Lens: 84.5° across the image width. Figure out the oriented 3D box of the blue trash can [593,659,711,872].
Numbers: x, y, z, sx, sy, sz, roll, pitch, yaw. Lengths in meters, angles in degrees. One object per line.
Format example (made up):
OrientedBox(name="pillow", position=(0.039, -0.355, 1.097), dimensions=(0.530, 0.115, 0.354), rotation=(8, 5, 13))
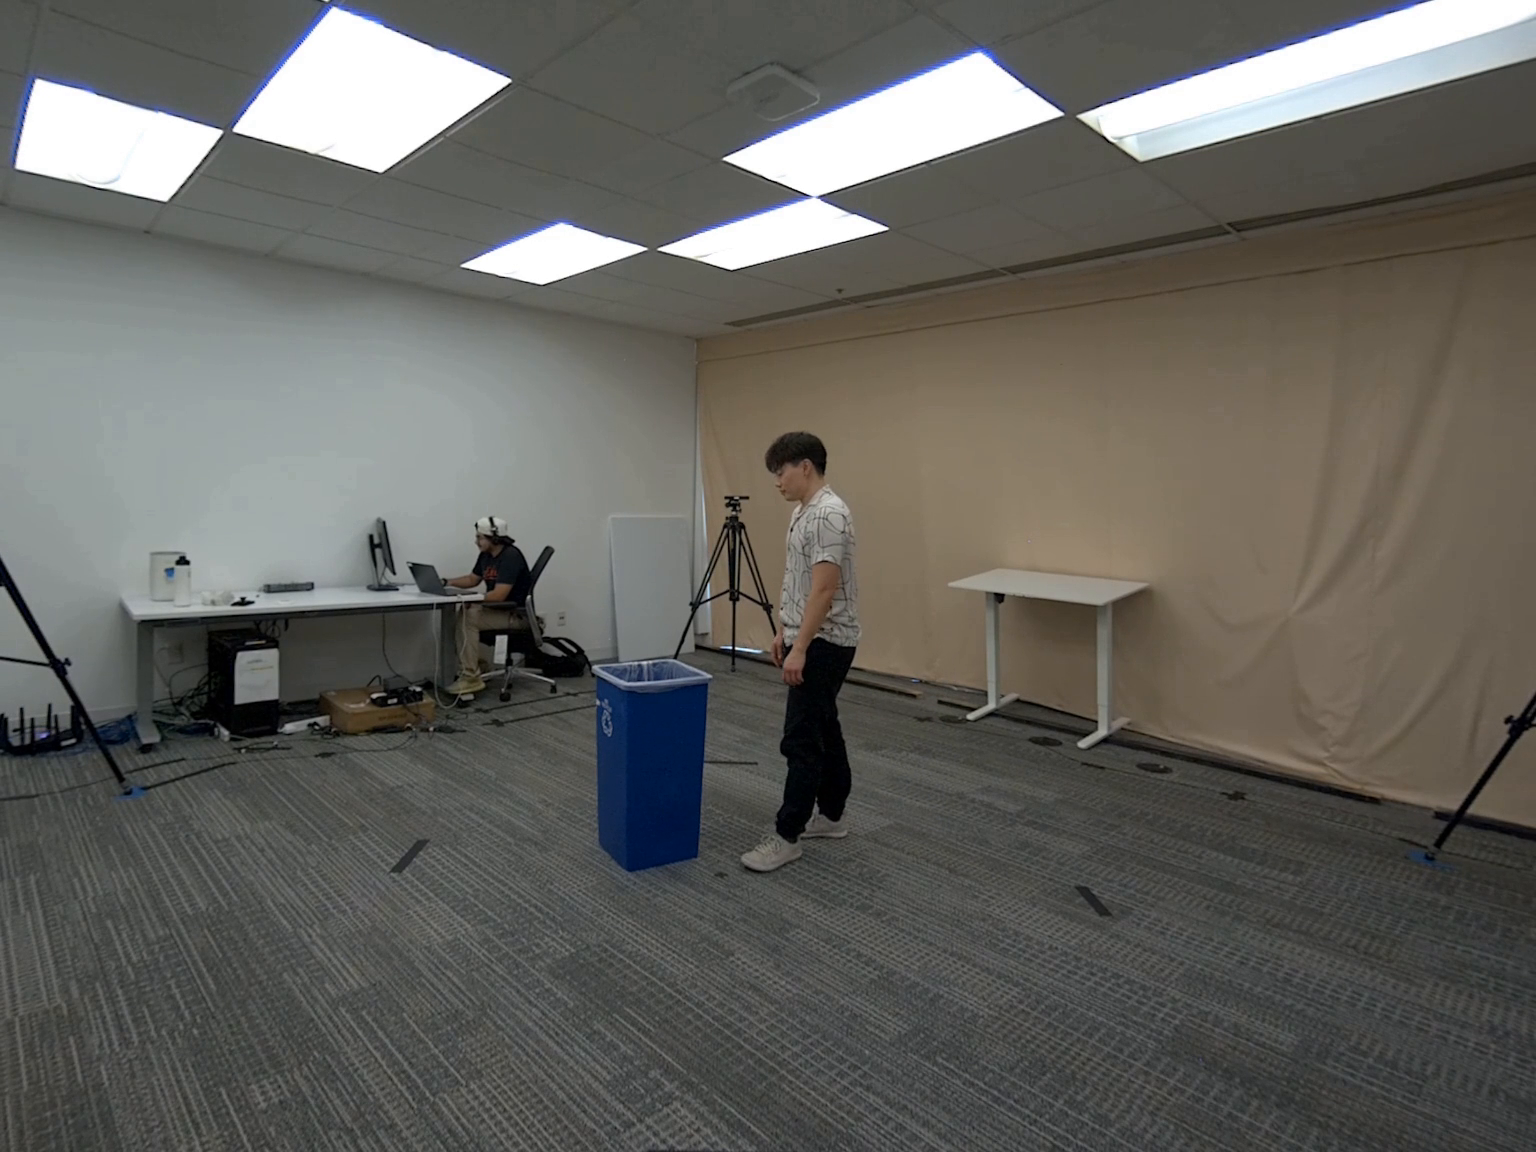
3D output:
OrientedBox(name="blue trash can", position=(-0.465, 0.724, 3.279), dimensions=(0.370, 0.712, 0.383), rotation=(-1, 4, -32))
